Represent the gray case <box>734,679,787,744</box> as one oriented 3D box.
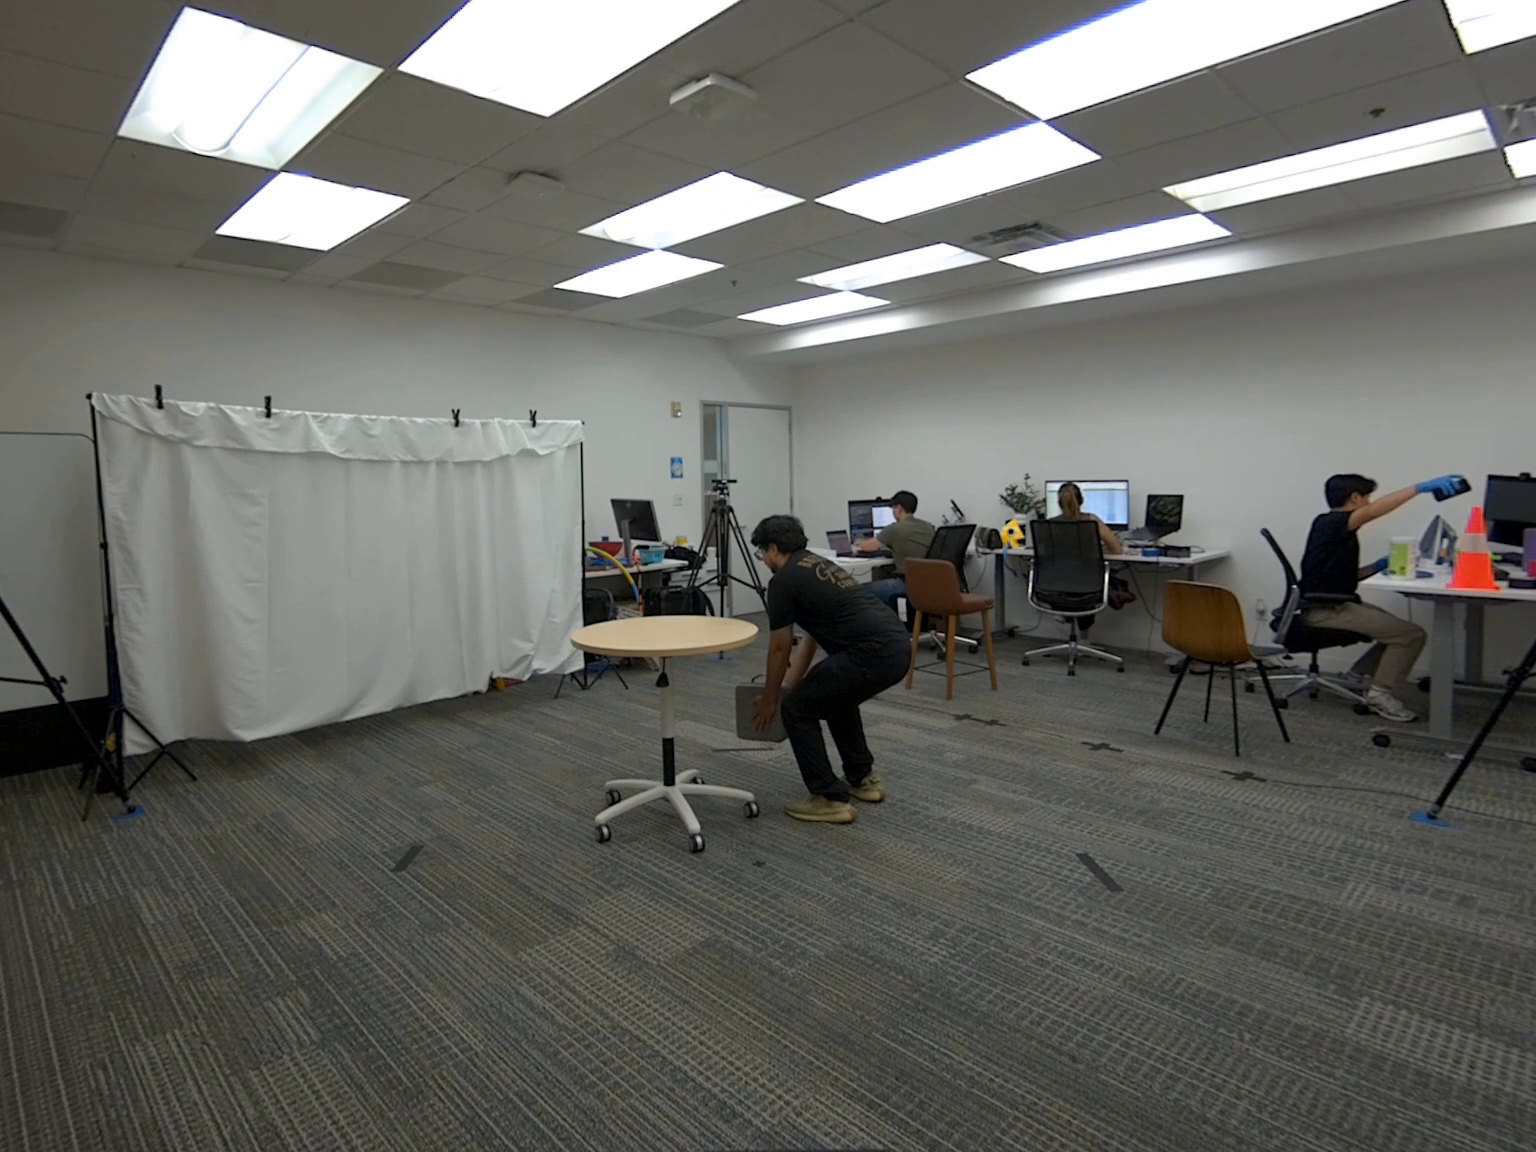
[{"bbox_3d":[-0.022,0.607,3.850,0.263,0.262,0.101,-4,-4,35],"label":"gray case"}]
